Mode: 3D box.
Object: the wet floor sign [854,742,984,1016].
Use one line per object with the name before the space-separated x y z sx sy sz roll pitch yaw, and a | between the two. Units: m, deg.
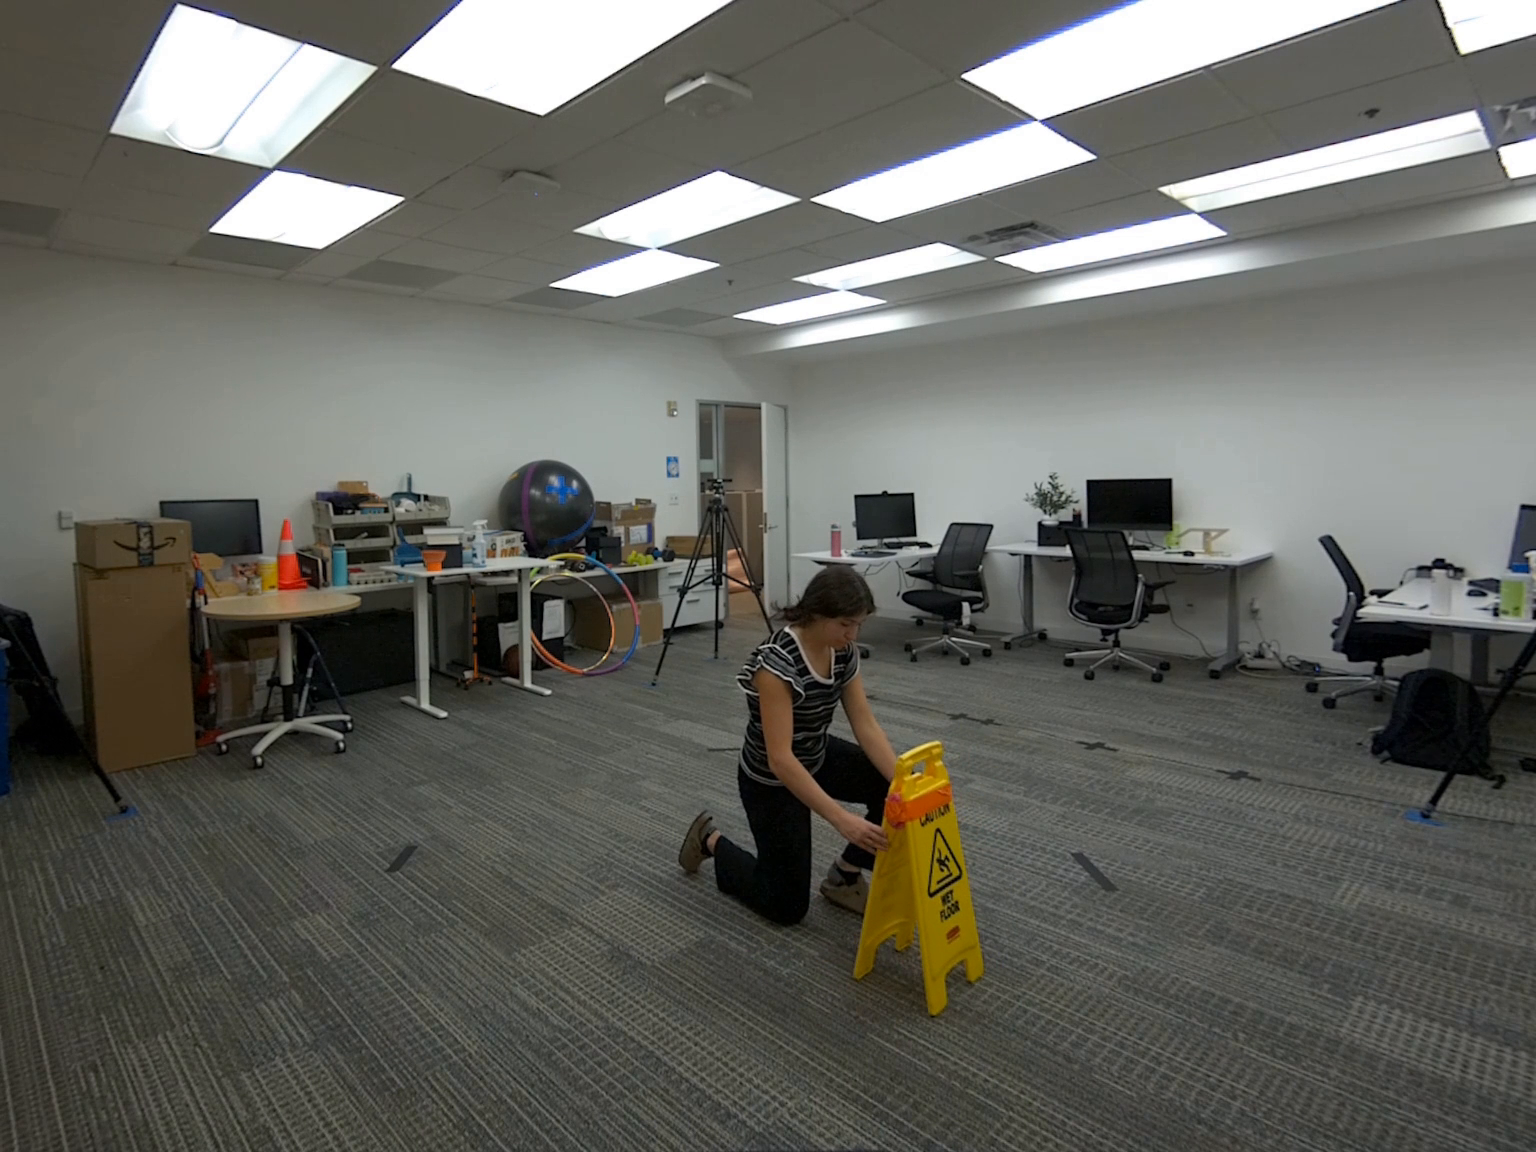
wet floor sign | 0.426 0.799 2.364 0.299 0.643 0.275 4 6 43
